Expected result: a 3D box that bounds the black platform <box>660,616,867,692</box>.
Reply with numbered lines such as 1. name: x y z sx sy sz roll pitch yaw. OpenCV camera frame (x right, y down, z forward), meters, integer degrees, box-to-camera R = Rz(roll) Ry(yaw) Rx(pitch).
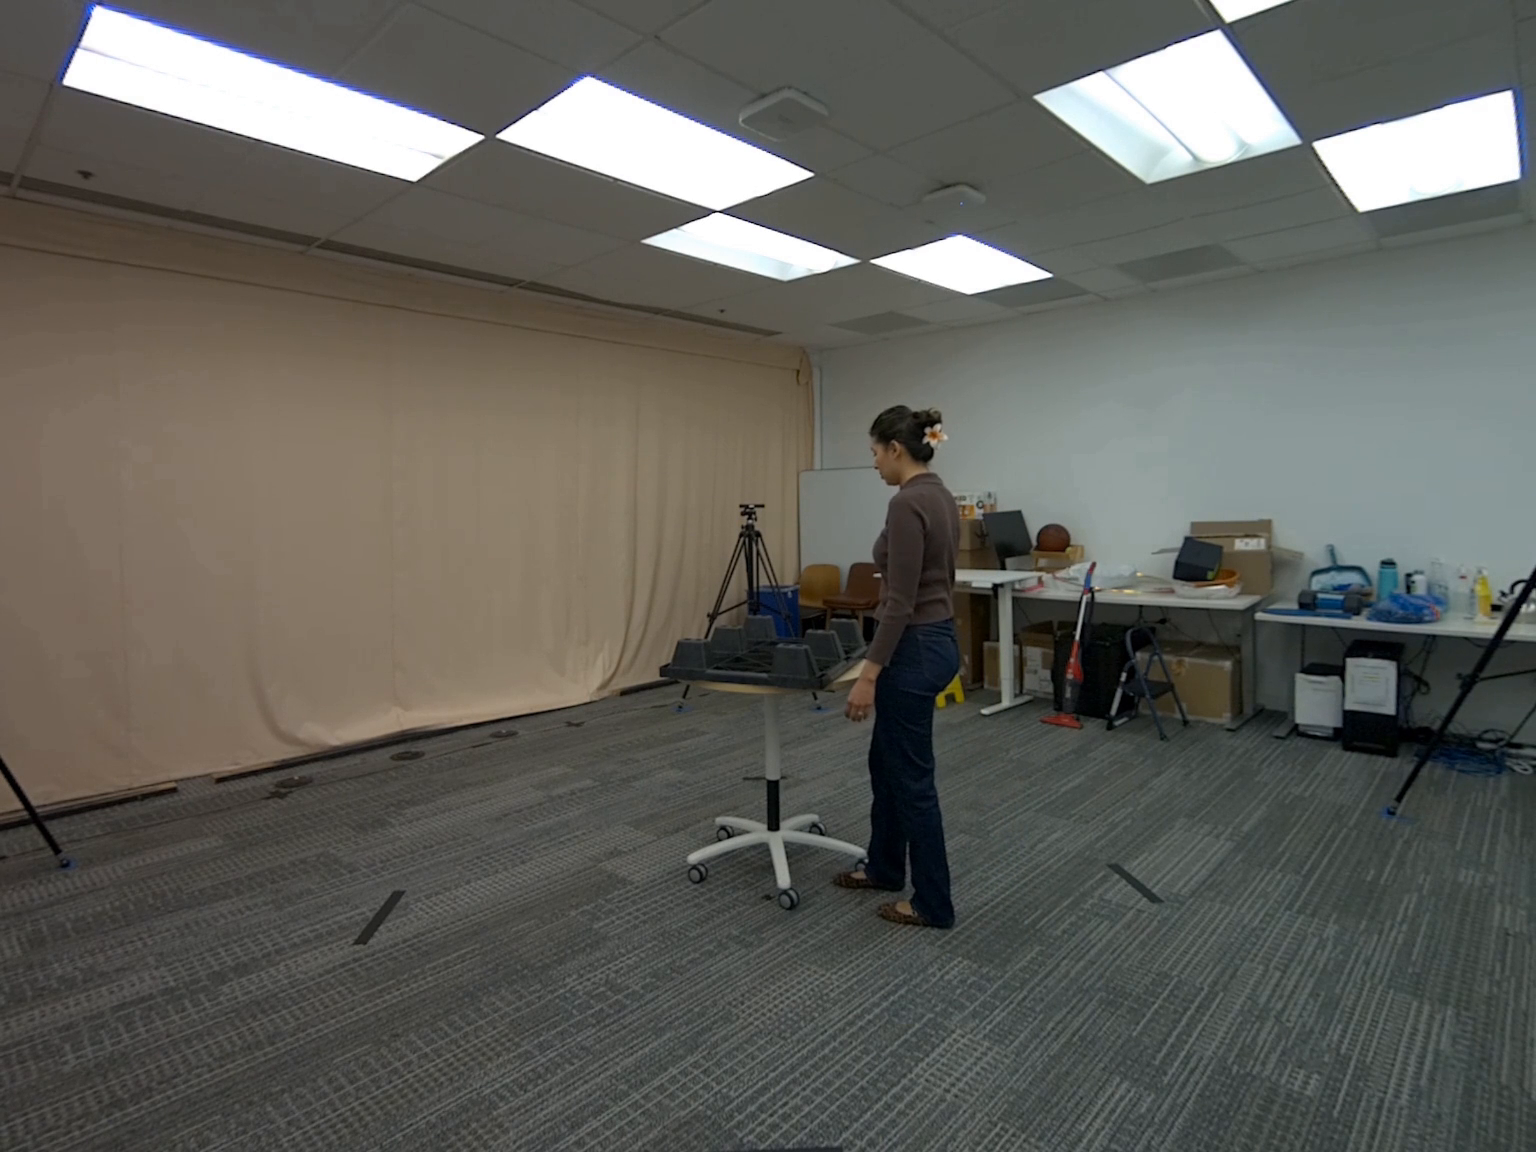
1. black platform: 0.031 0.272 3.212 0.619 0.143 0.790 1 6 20
